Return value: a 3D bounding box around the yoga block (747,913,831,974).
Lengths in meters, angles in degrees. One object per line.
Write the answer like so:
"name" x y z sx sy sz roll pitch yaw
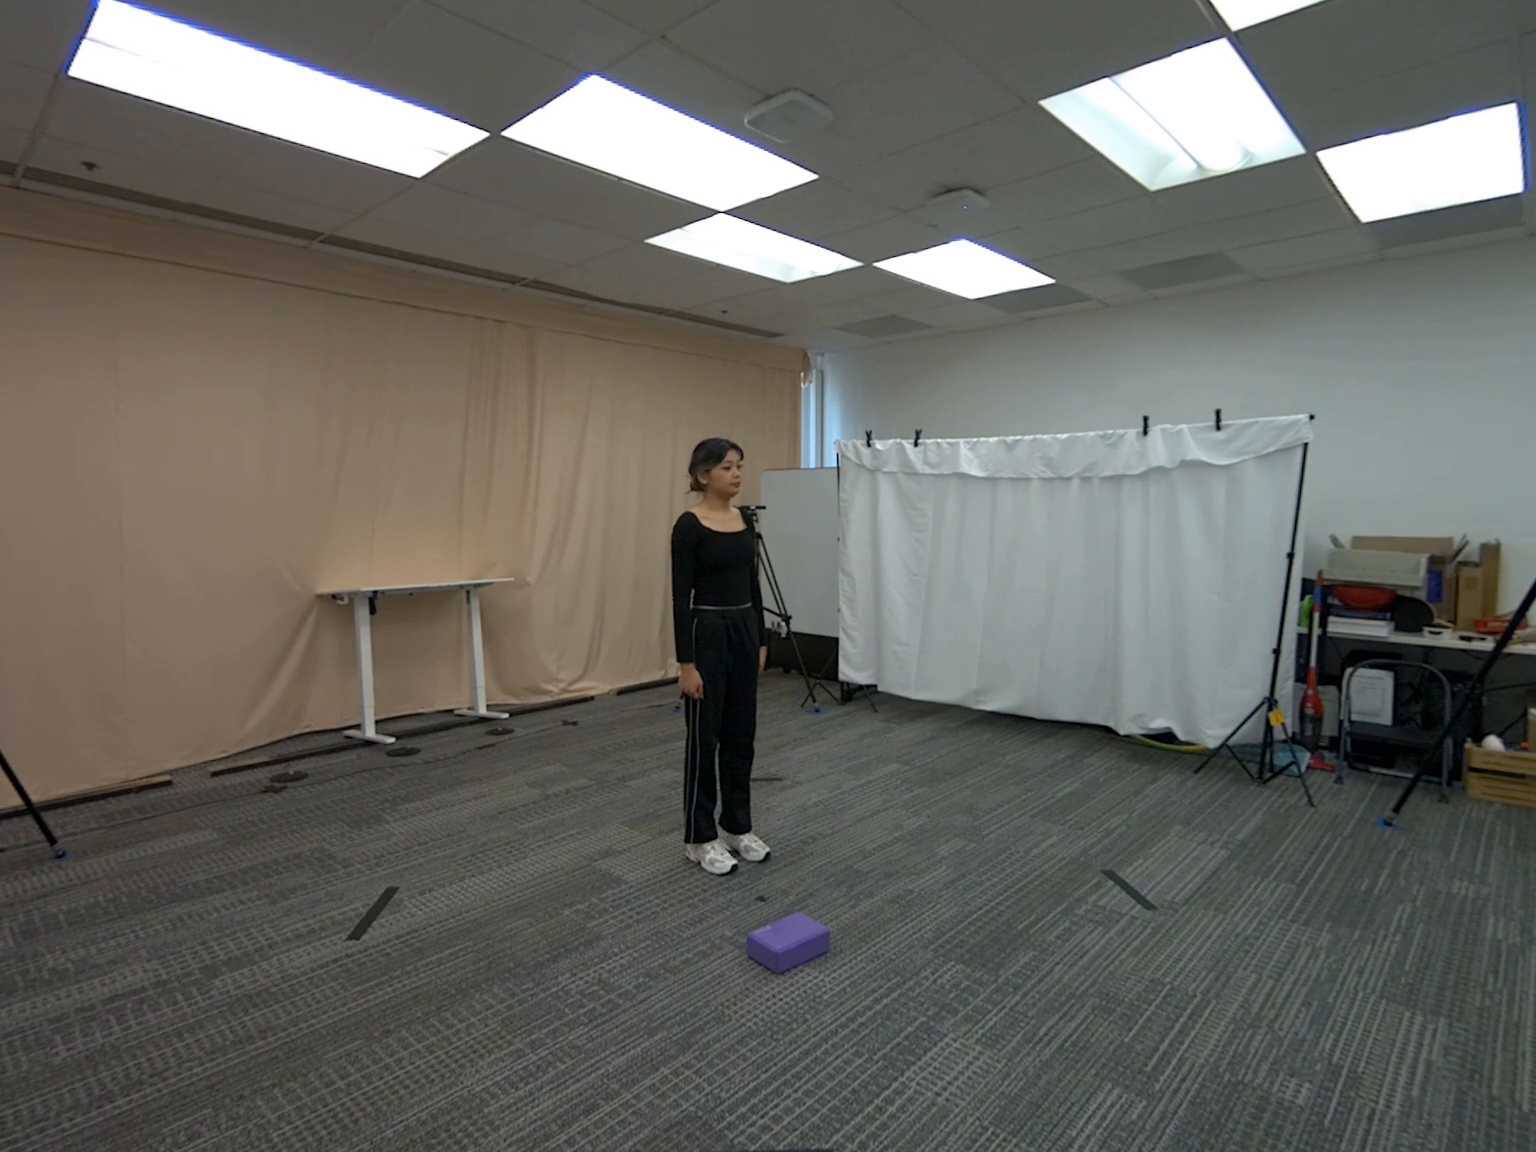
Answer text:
"yoga block" 0.071 1.137 2.611 0.222 0.076 0.154 -4 6 -40
